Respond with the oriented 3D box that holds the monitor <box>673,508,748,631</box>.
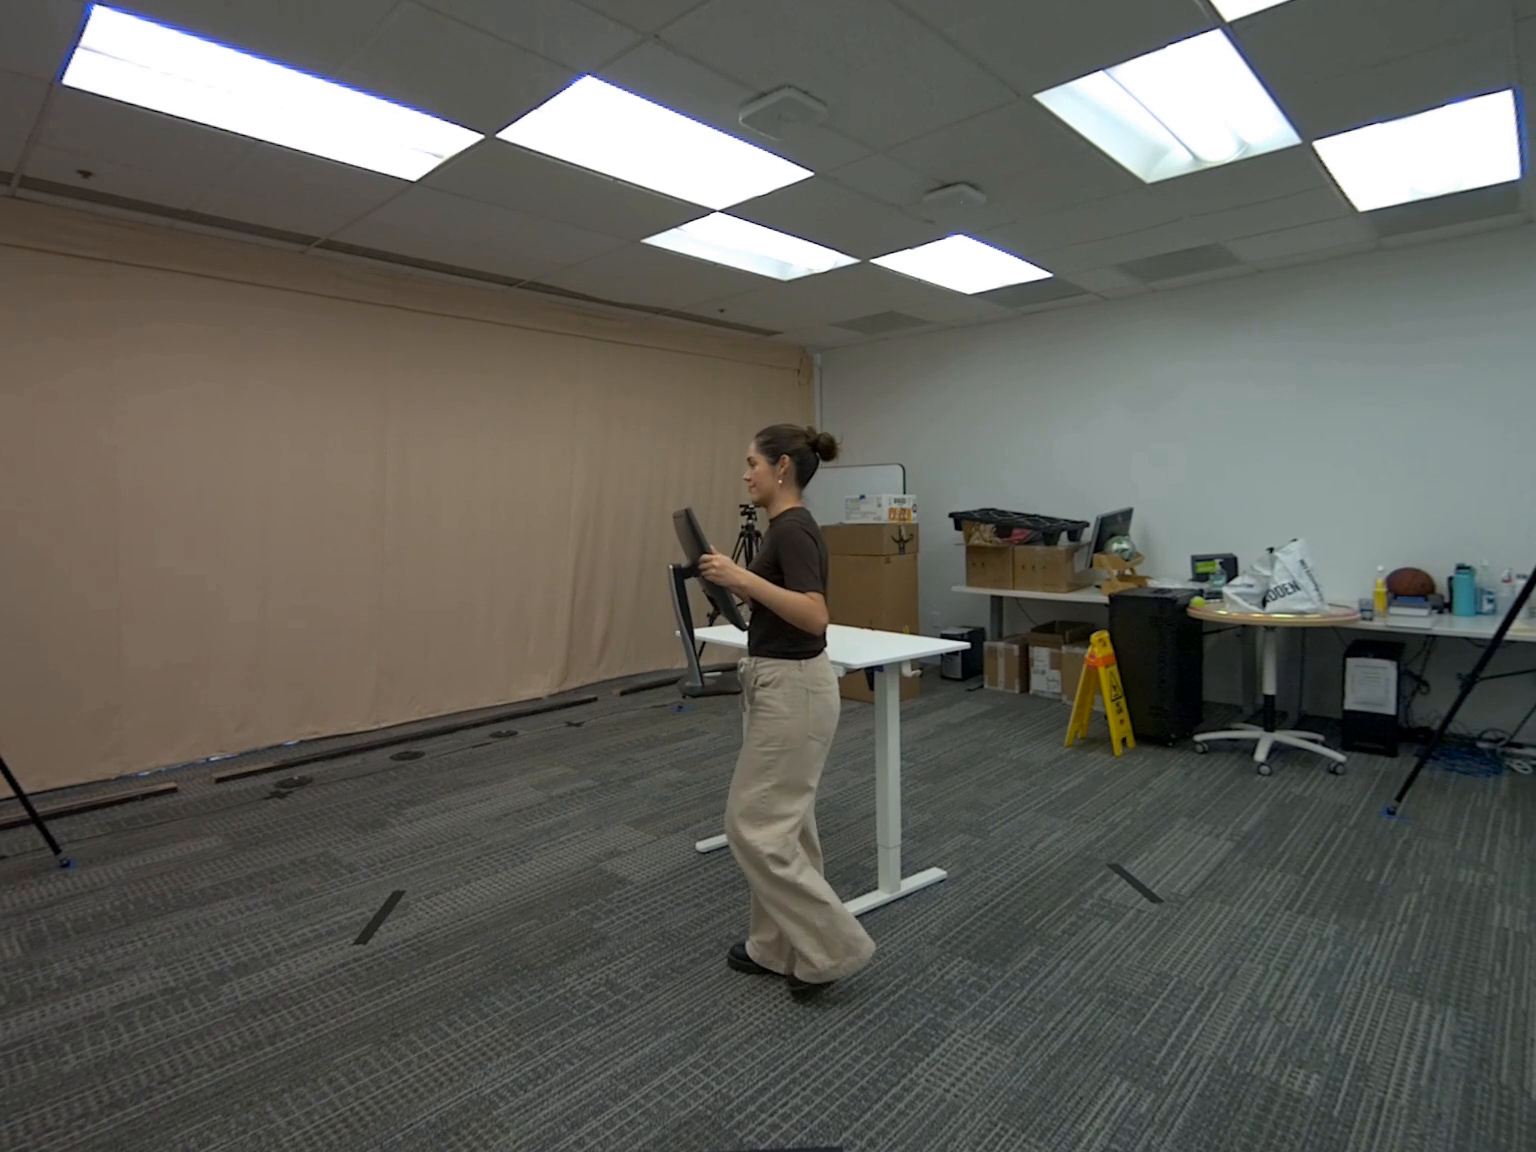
[{"bbox_3d":[-0.194,0.068,2.411,0.185,0.521,0.545,-10,3,-11],"label":"monitor"}]
